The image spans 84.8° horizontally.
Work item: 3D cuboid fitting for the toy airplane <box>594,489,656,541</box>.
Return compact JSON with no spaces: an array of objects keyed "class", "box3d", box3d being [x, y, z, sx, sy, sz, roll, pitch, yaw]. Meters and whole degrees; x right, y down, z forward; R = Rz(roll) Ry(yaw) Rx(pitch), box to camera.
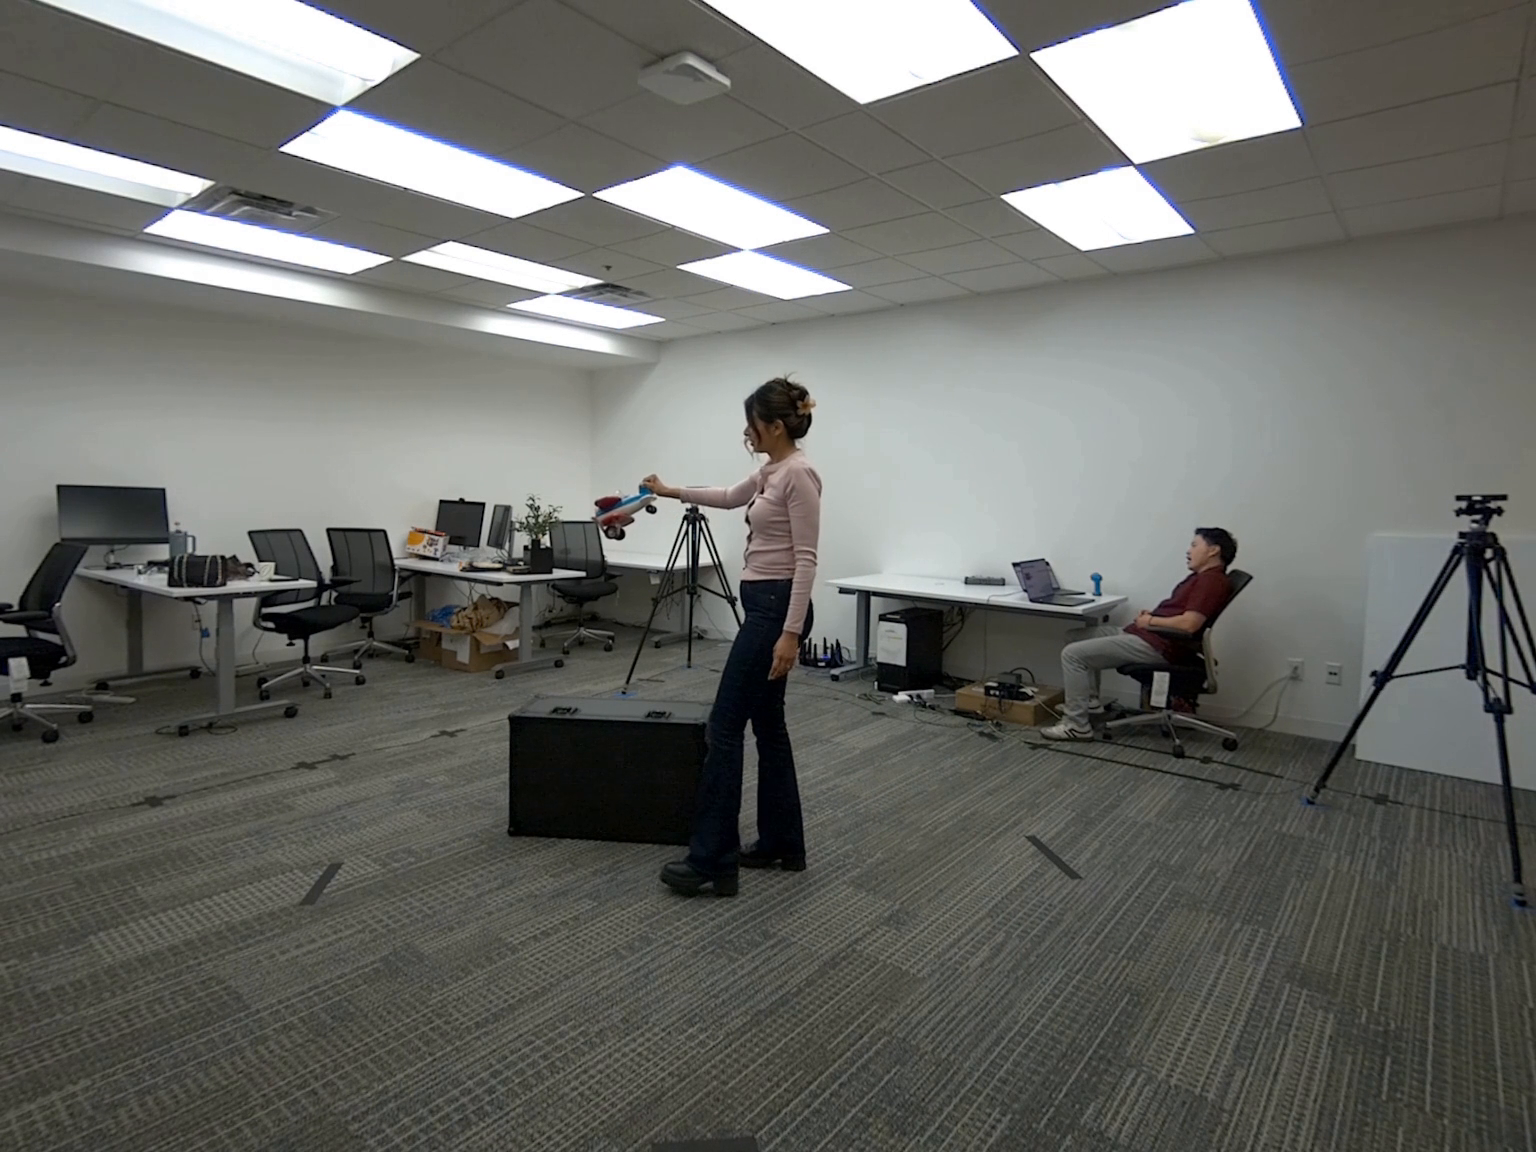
[{"class":"toy airplane","box3d":[-0.587,-0.261,3.423,0.257,0.158,0.250,-33,-7,-21]}]
